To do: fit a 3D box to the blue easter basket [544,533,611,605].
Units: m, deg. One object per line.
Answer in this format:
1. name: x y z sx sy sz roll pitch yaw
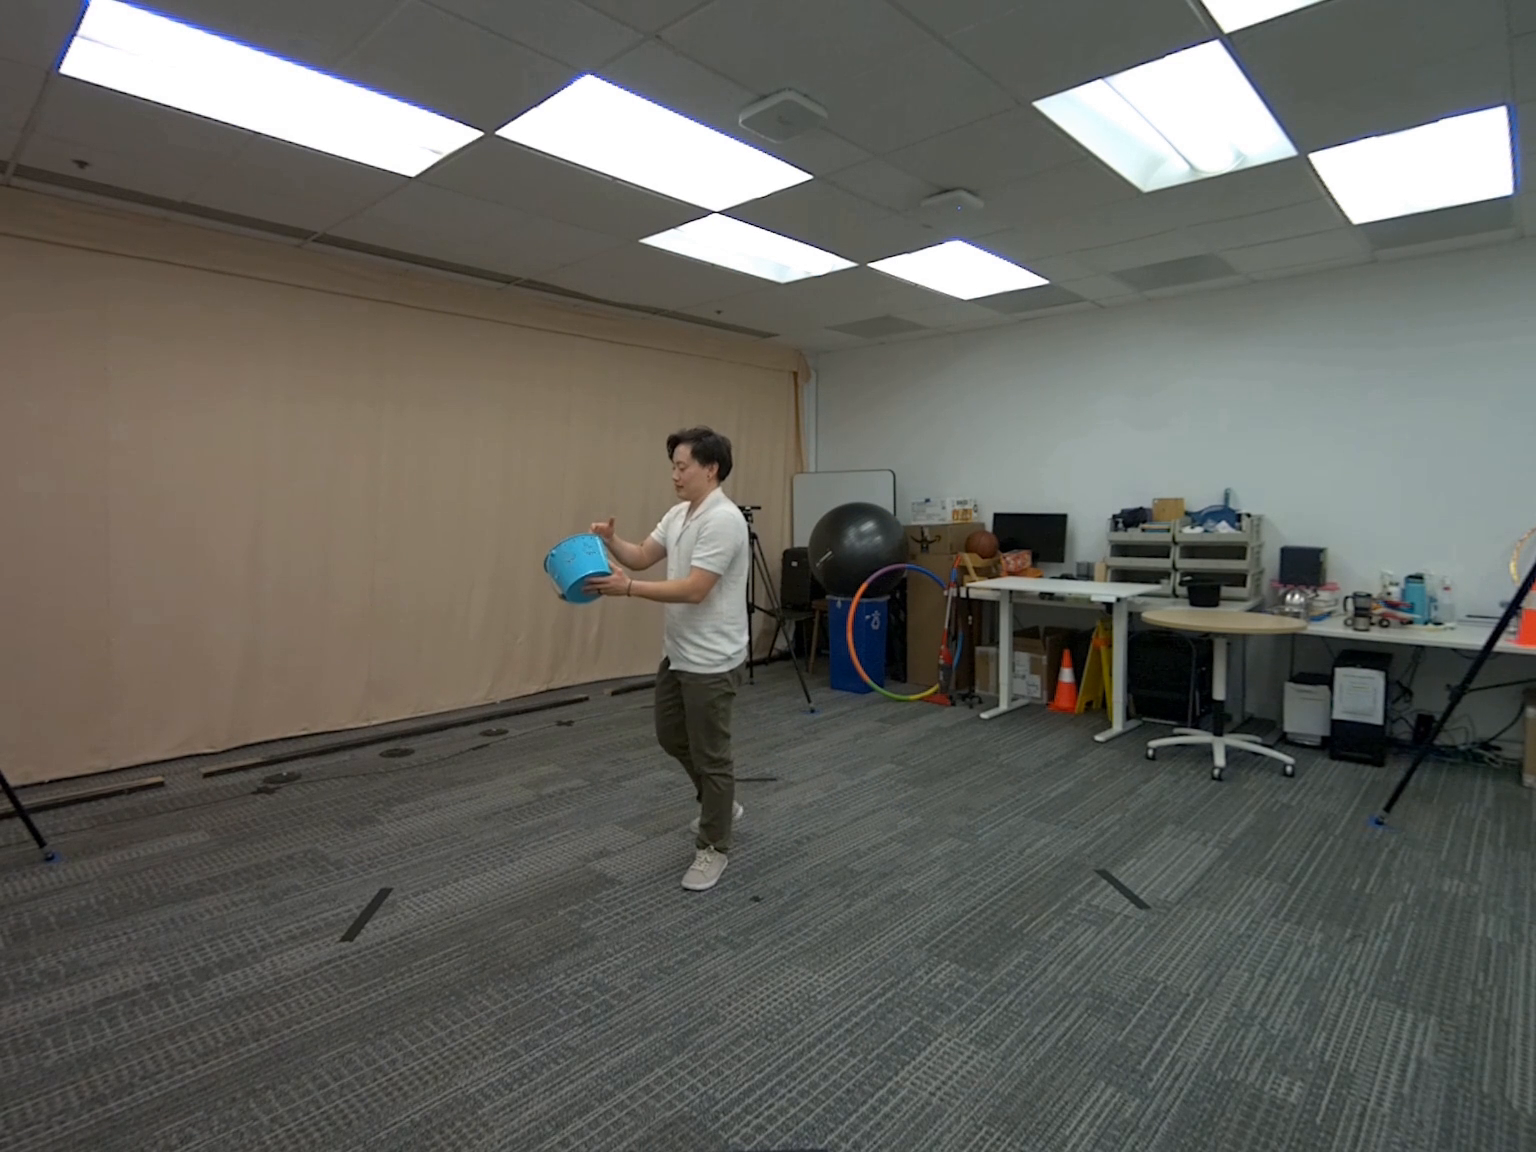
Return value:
1. blue easter basket: -0.654 -0.014 2.993 0.241 0.160 0.239 -22 -30 -16
